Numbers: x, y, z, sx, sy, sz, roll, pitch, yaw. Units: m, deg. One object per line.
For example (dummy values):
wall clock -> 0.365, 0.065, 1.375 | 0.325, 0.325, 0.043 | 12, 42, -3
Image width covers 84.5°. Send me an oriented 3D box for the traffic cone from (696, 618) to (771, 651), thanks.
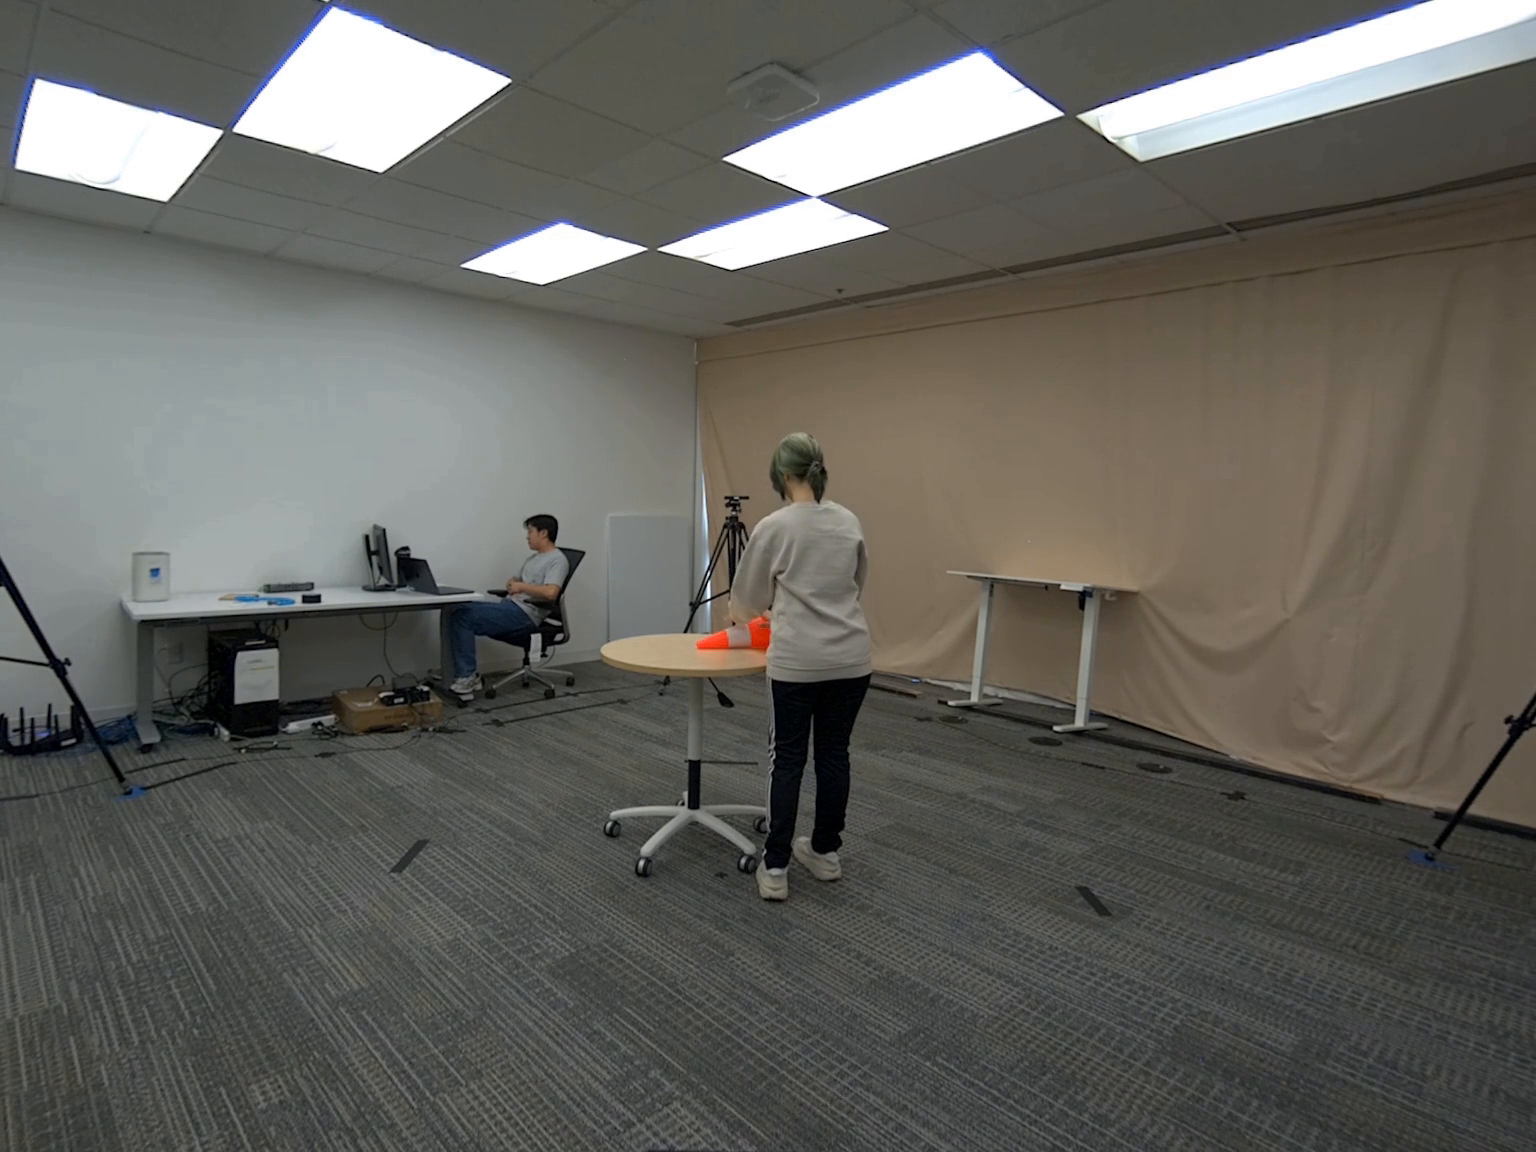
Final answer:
traffic cone -> -0.119, 0.252, 3.430 | 0.379, 0.199, 0.211 | -12, 43, -19
